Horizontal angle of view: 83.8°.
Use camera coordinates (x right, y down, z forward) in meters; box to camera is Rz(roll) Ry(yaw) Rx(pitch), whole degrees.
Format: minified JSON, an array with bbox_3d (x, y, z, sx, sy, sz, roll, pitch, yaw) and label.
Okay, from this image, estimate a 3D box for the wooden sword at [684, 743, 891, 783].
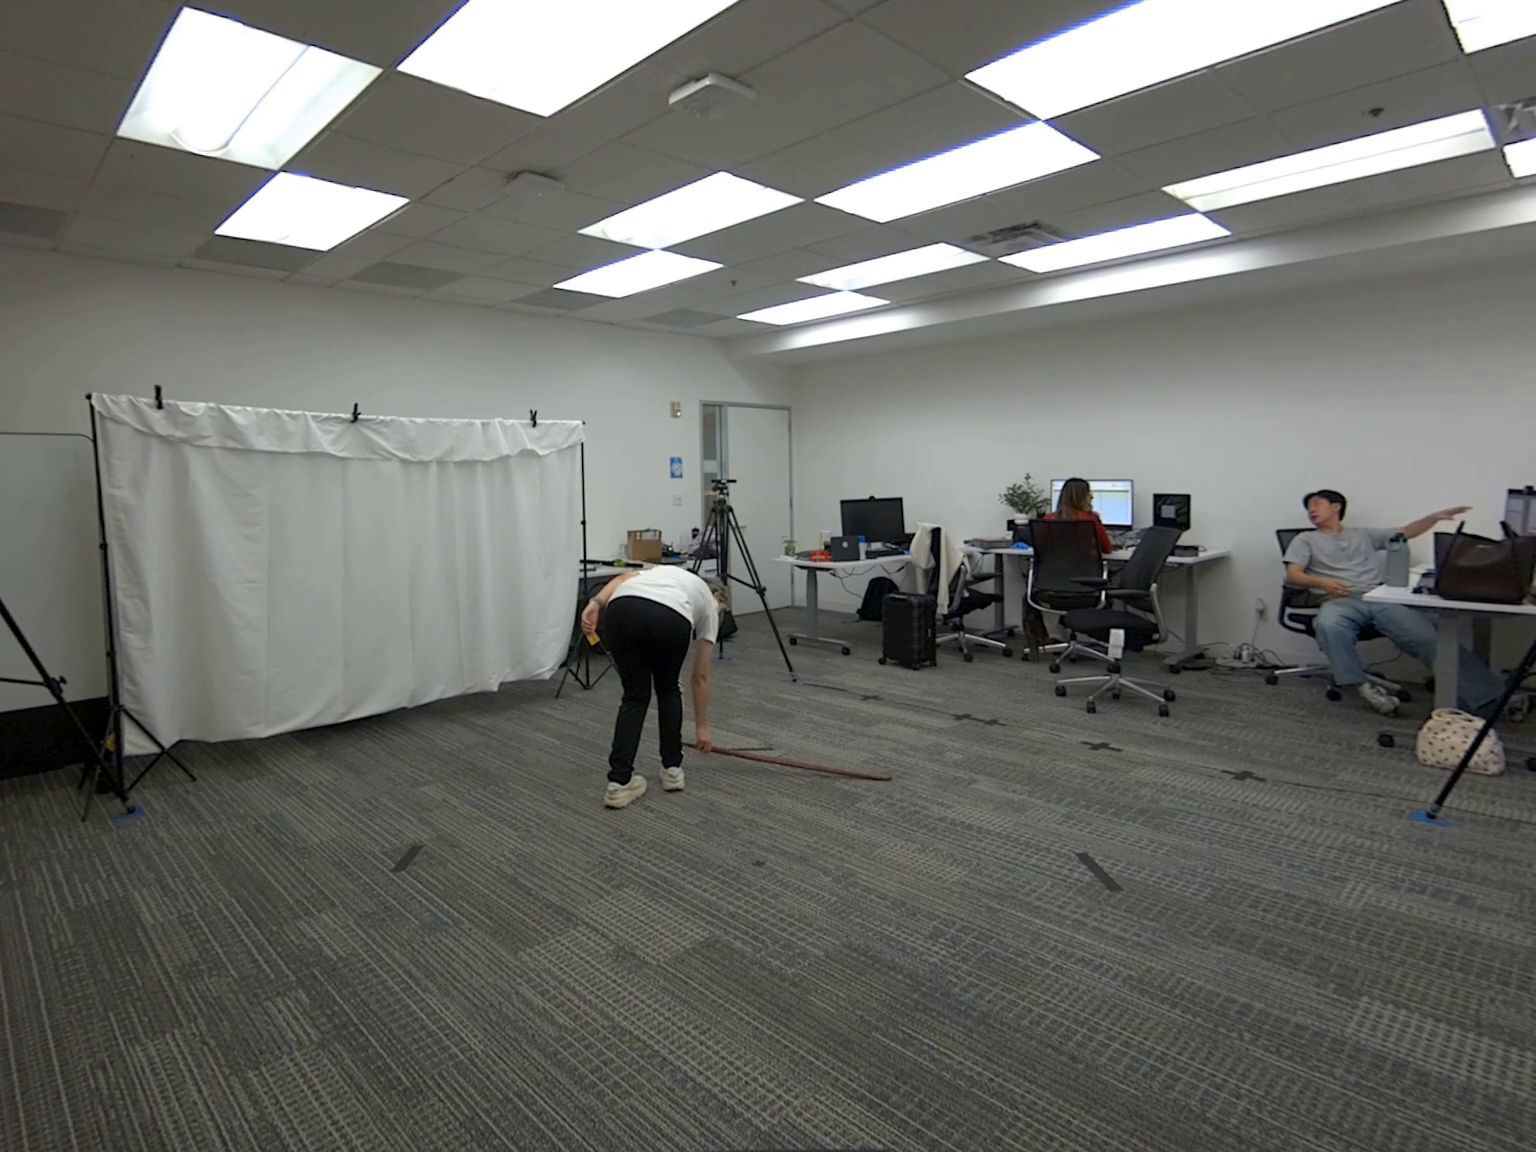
[{"bbox_3d":[0.063,0.886,4.046,1.039,0.050,0.024,5,27,13],"label":"wooden sword"}]
